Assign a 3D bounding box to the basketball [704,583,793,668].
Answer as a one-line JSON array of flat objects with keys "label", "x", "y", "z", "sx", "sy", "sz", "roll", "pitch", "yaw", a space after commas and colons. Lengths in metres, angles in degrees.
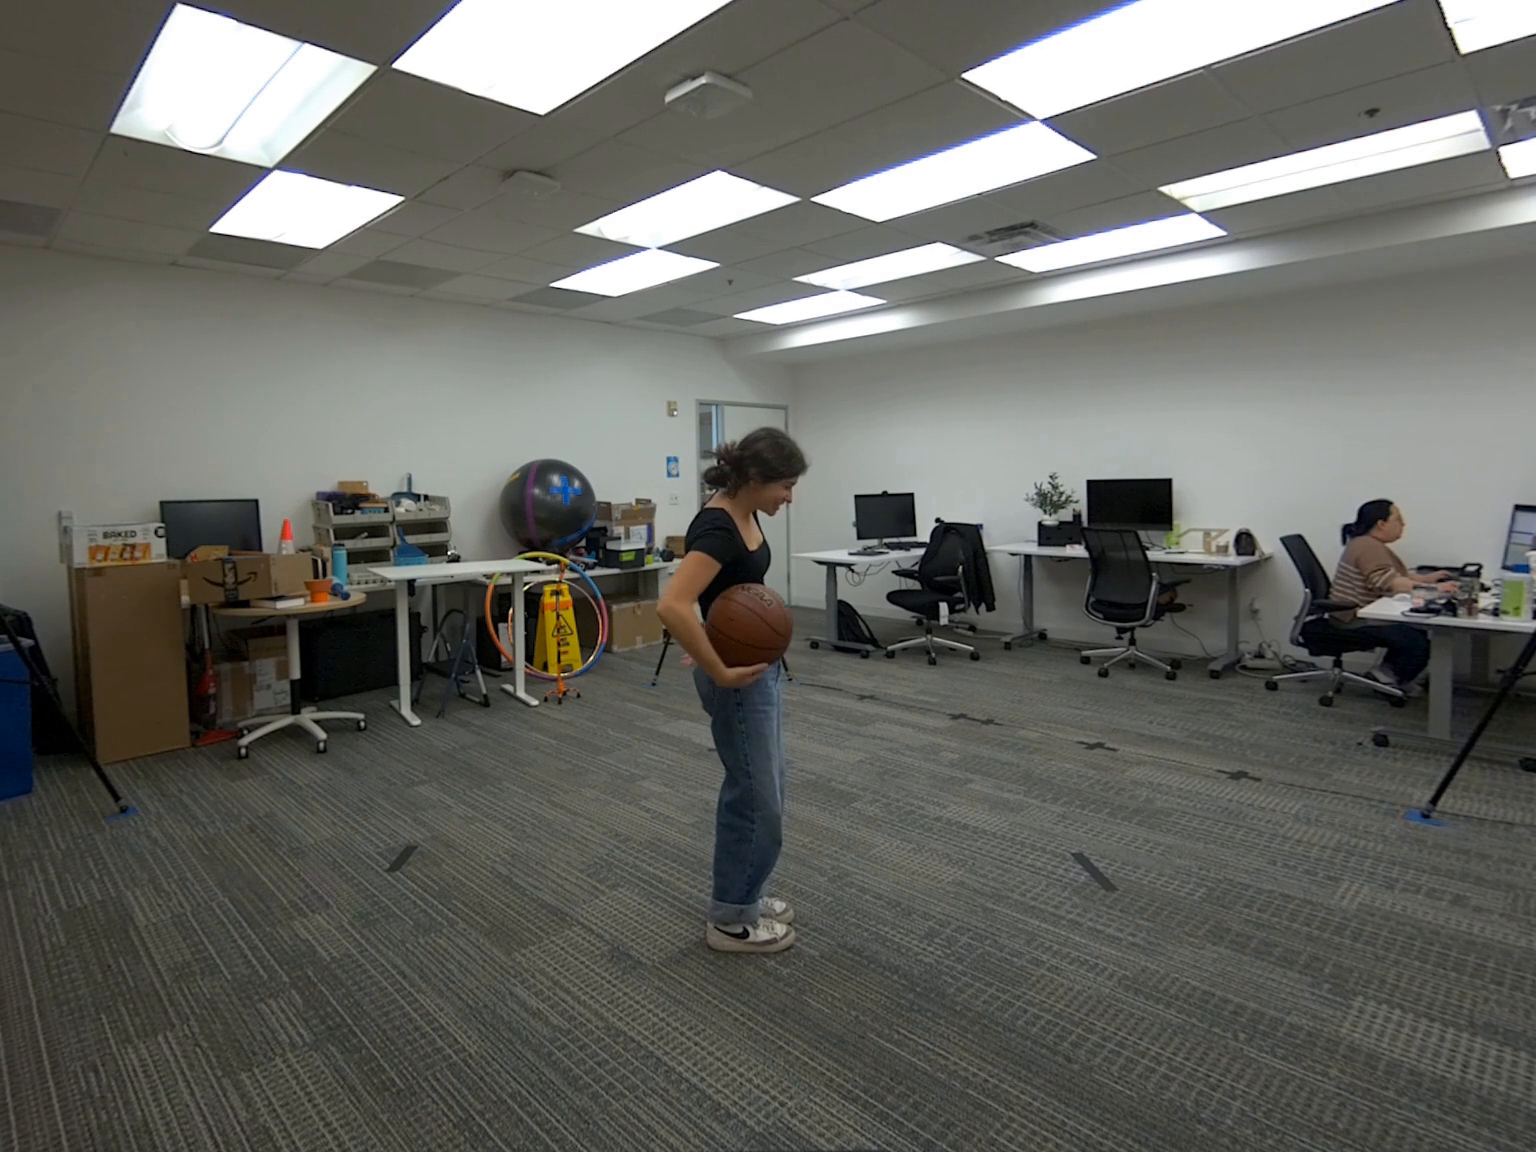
[{"label": "basketball", "x": -0.054, "y": 0.147, "z": 2.332, "sx": 0.236, "sy": 0.235, "sz": 0.237, "roll": -1, "pitch": 5, "yaw": -2}]
